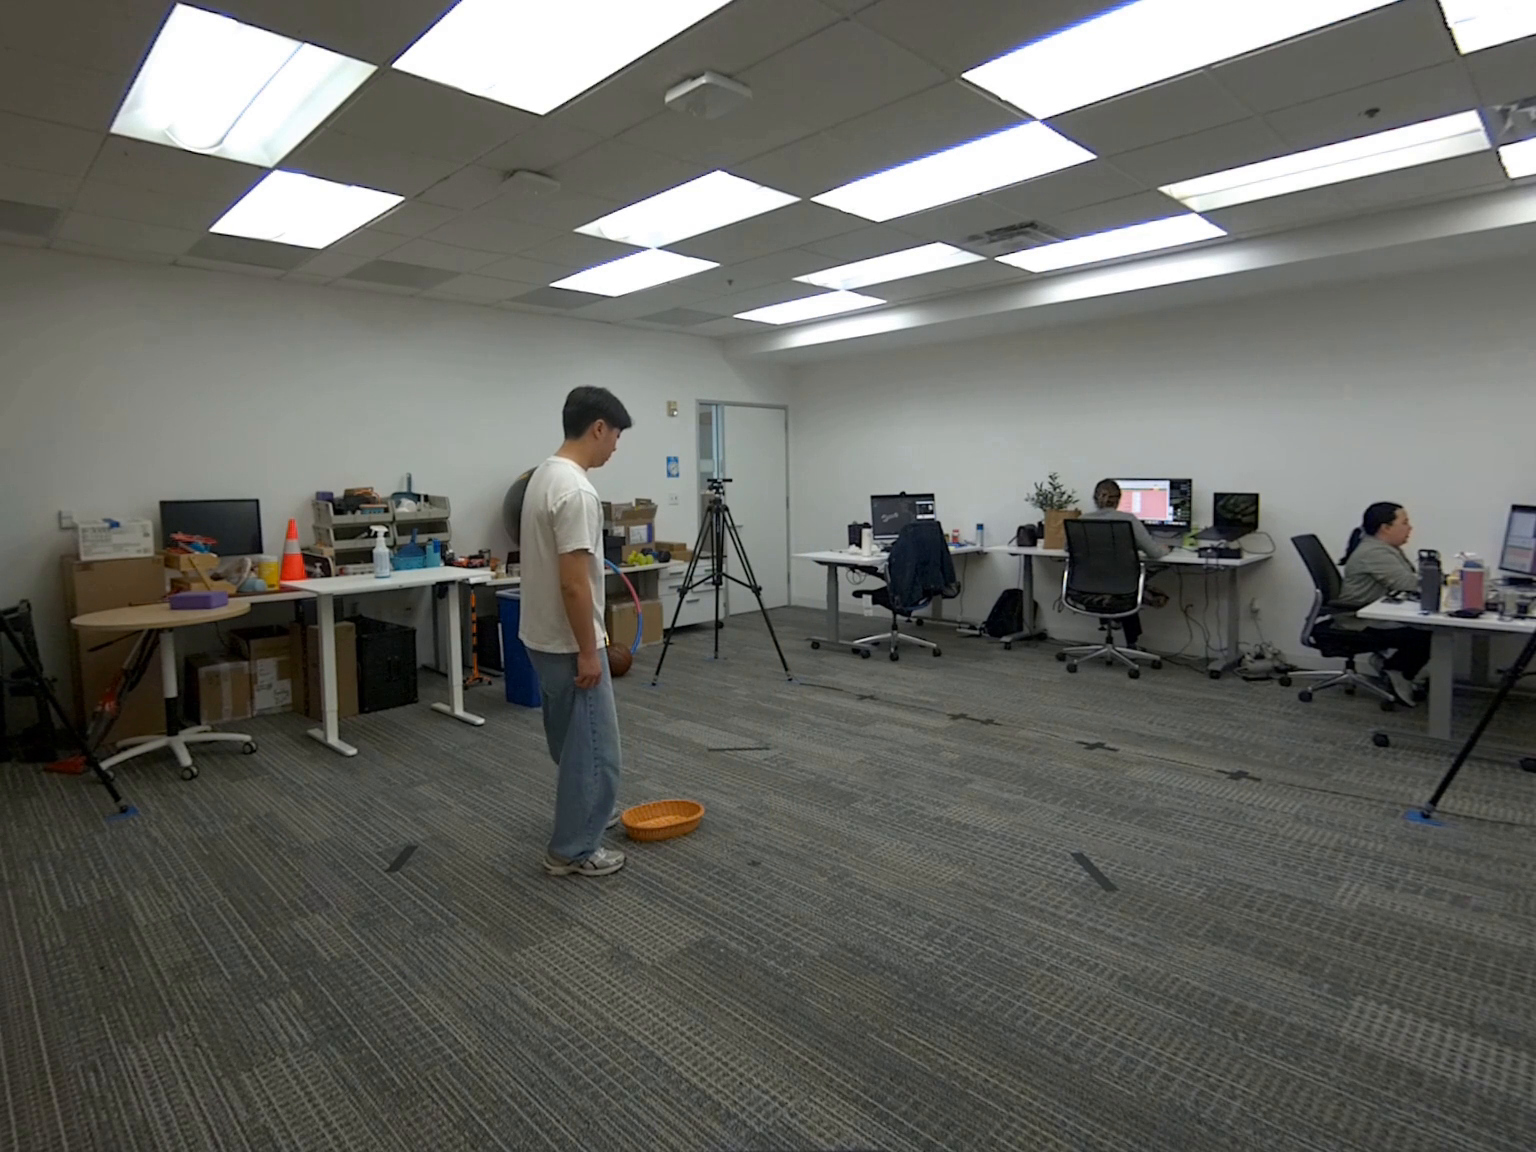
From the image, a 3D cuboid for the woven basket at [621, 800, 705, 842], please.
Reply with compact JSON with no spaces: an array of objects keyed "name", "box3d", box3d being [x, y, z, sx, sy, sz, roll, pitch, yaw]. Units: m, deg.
[{"name":"woven basket","box3d":[-0.401,0.975,3.404,0.343,0.073,0.259,-5,7,-26]}]
